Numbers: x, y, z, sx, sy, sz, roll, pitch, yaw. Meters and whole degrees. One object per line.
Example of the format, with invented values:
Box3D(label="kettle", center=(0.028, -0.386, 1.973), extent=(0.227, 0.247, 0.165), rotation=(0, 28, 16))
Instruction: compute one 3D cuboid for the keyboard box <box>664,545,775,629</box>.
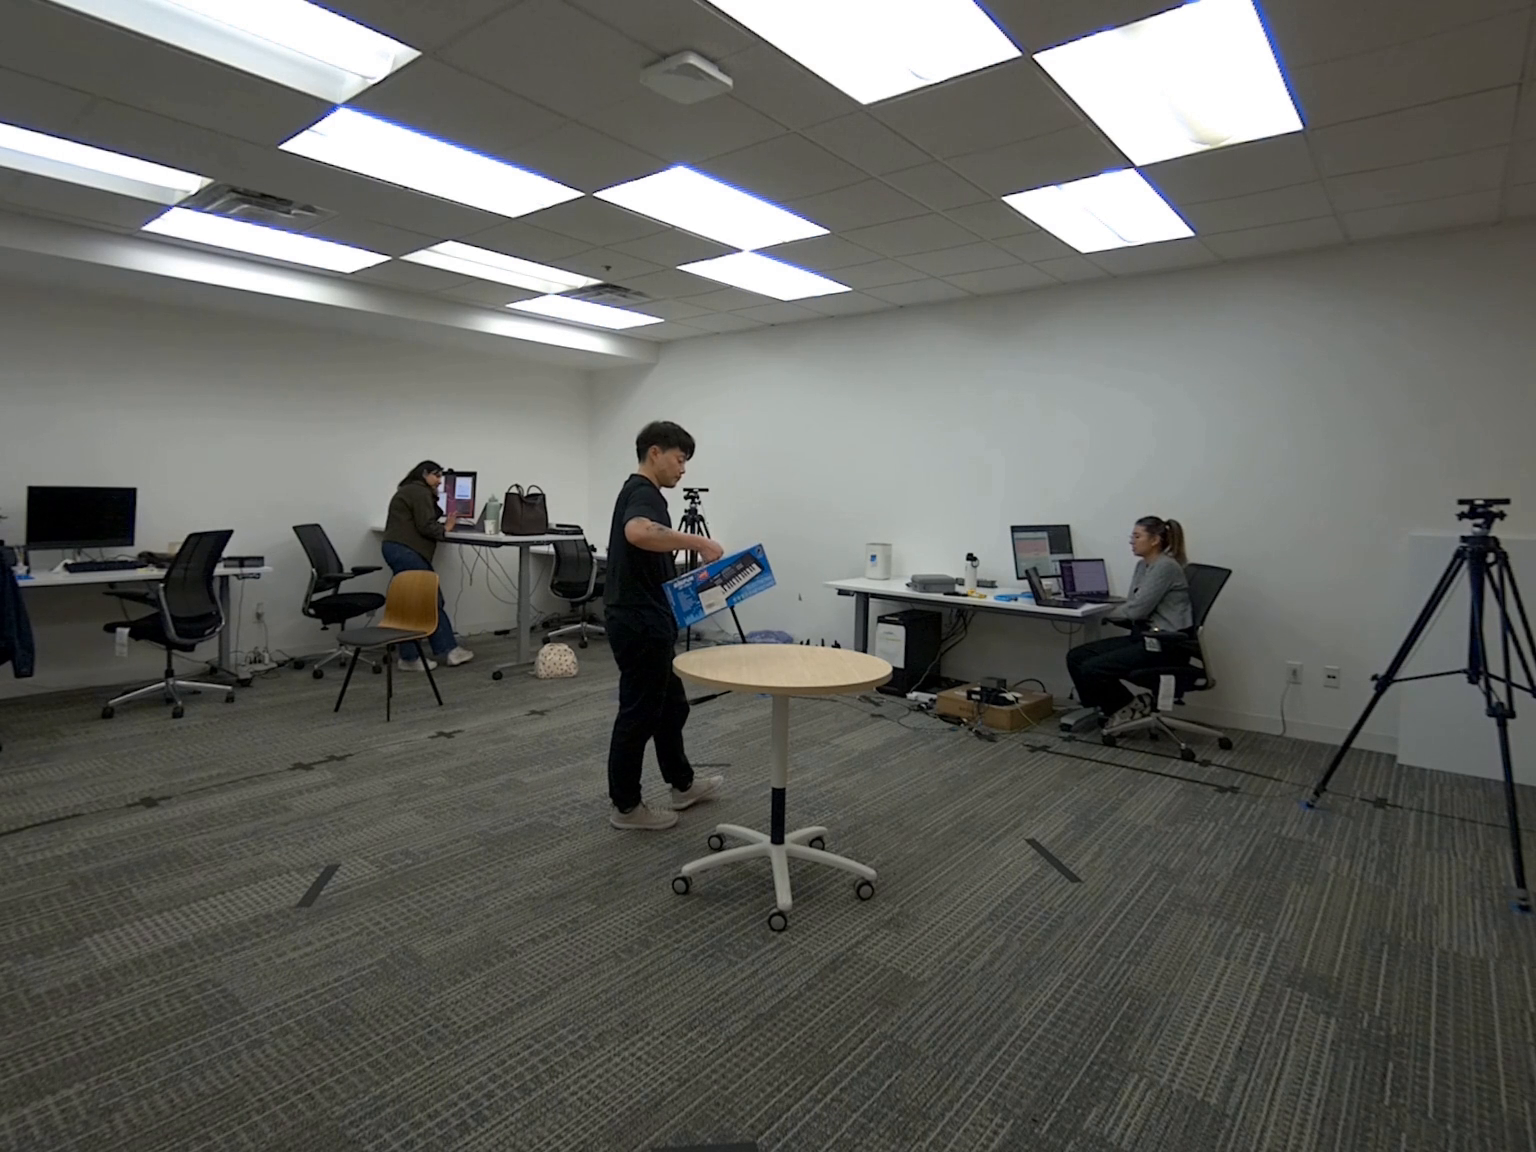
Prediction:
Box3D(label="keyboard box", center=(-0.188, 0.037, 3.180), extent=(0.430, 0.175, 0.060), rotation=(-24, 6, -32))
